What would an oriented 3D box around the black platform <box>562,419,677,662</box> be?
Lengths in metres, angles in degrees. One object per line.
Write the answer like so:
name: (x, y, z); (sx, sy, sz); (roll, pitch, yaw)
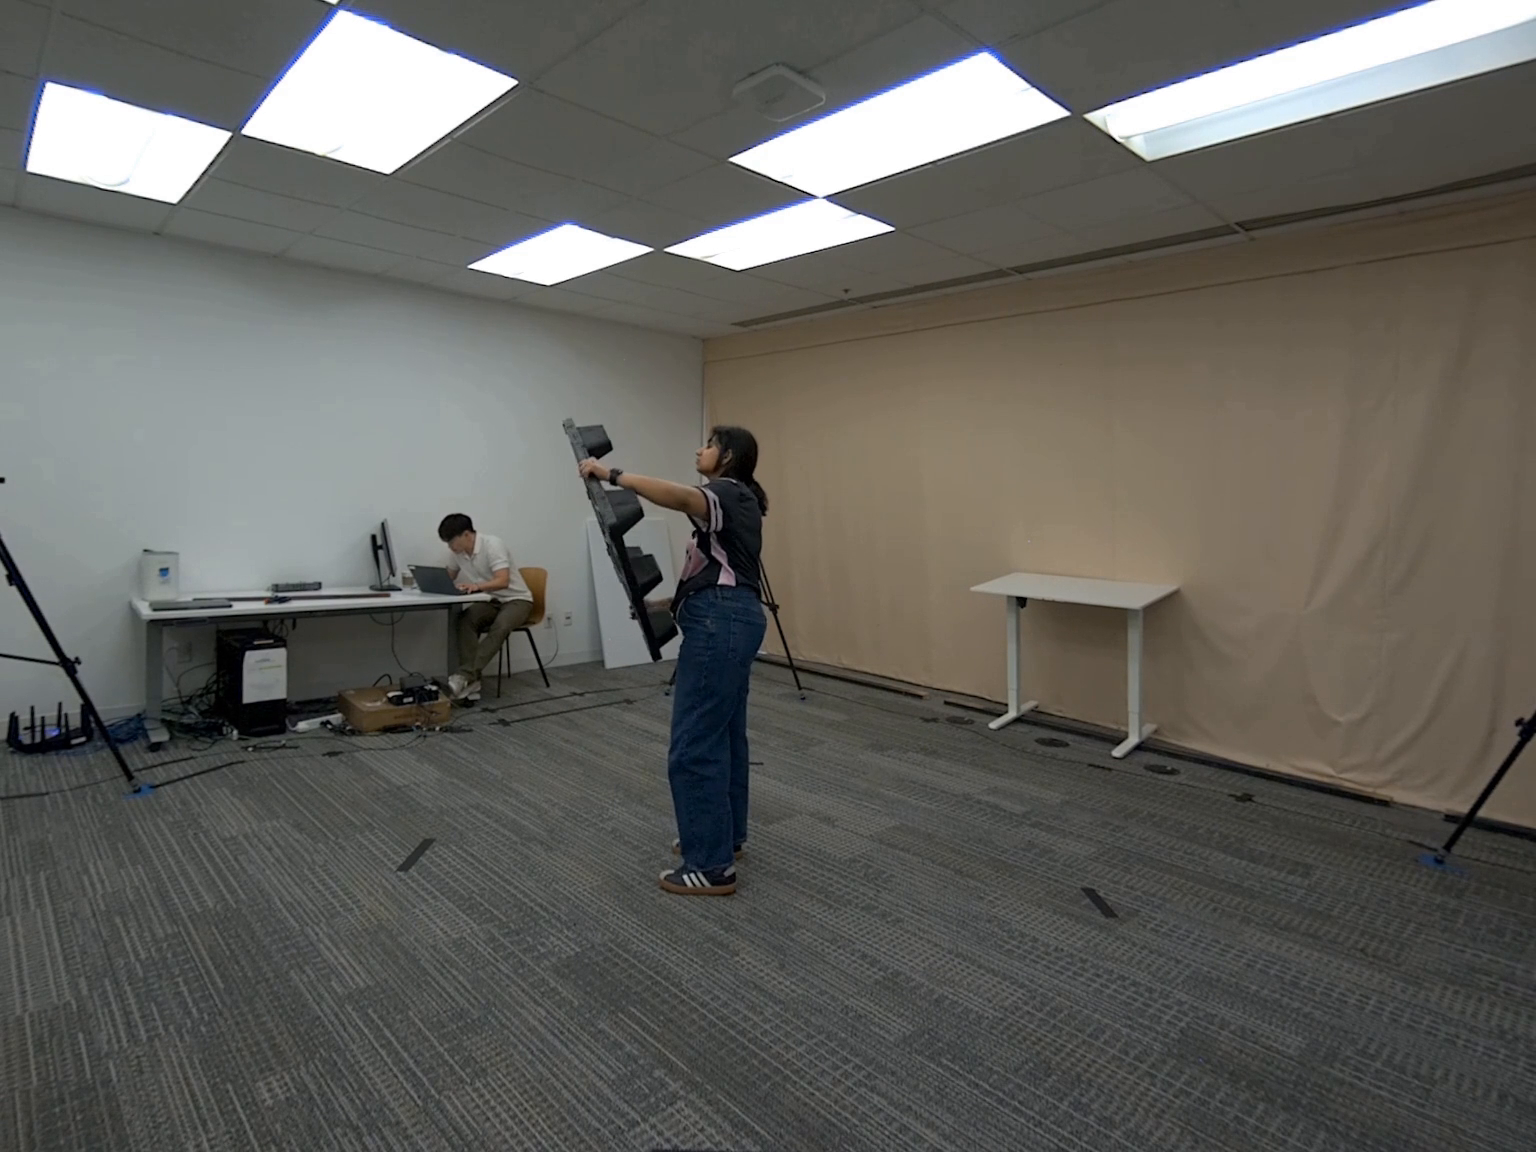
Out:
black platform: (-0.537, -0.132, 3.157); (0.142, 0.785, 0.623); (-21, 51, -10)
